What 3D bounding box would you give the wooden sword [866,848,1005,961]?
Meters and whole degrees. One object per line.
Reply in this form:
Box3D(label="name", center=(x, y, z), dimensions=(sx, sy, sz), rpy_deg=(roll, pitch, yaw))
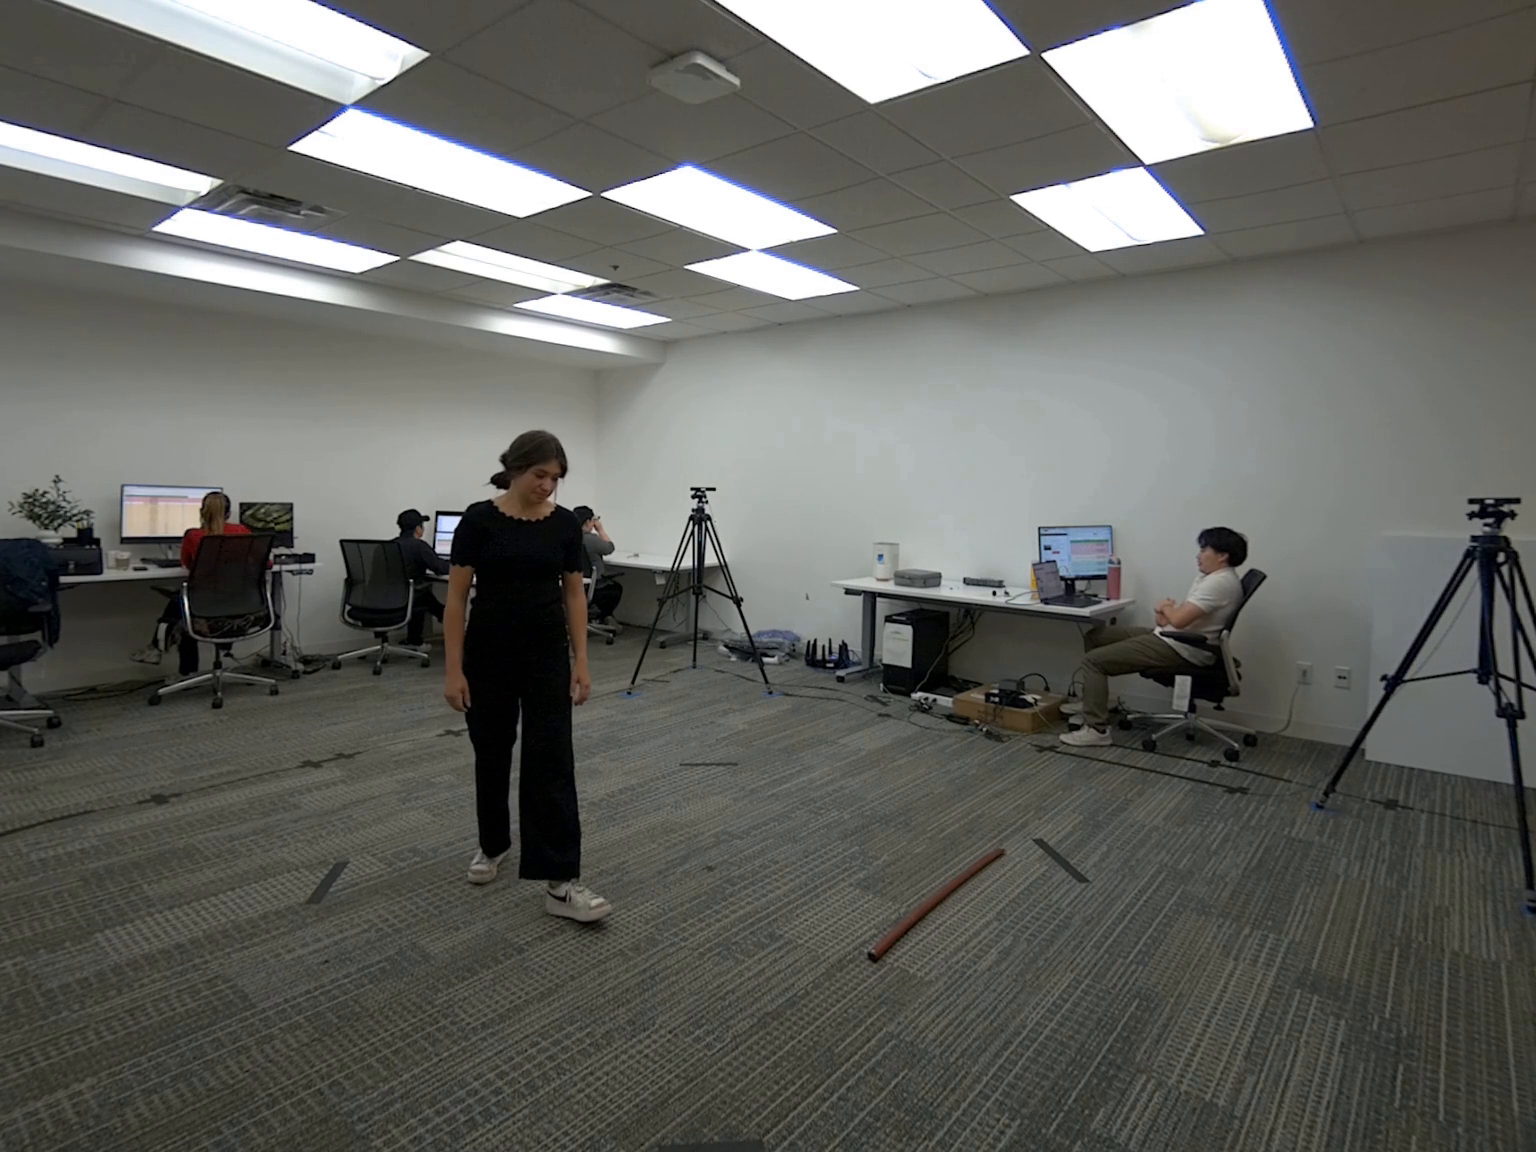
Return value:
Box3D(label="wooden sword", center=(0.588, 1.082, 2.926), dimensions=(0.053, 0.024, 0.995), rpy_deg=(-6, 0, 37))
